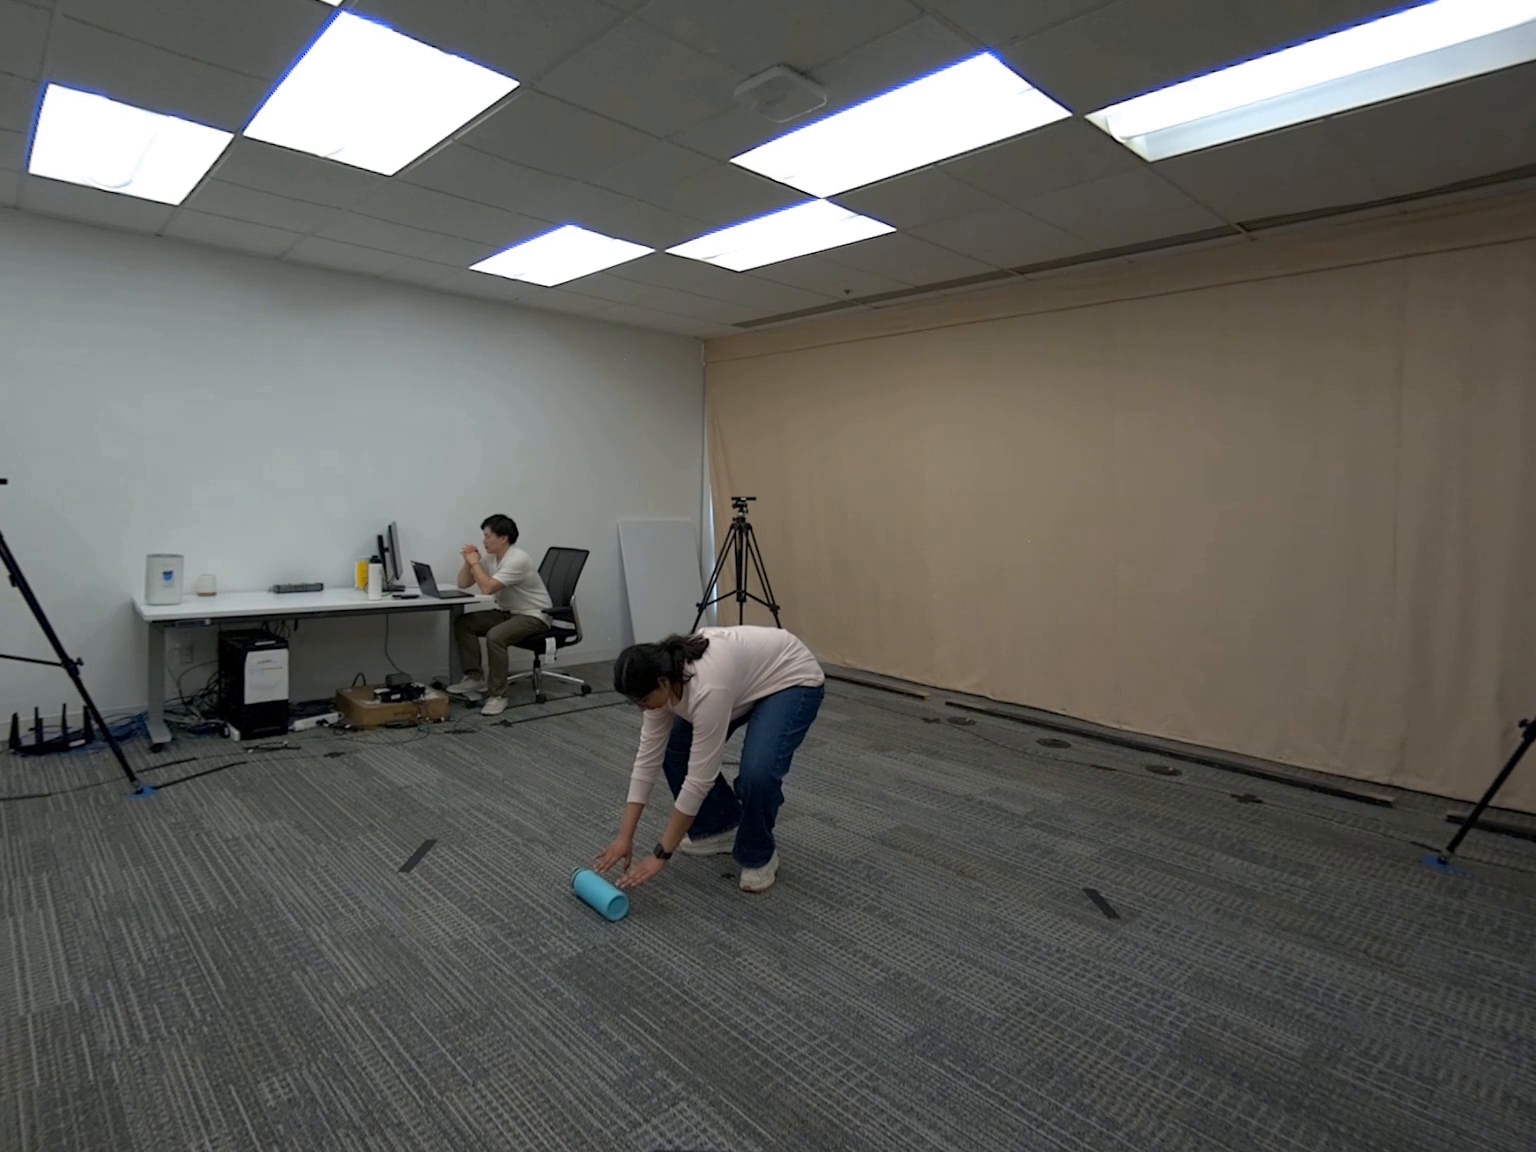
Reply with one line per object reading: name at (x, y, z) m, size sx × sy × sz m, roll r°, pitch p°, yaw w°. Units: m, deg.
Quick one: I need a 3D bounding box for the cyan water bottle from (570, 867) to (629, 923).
cyan water bottle at (-0.583, 1.067, 2.856) m, size 0.090 × 0.092 × 0.291 m, roll -2°, pitch 6°, yaw -40°
